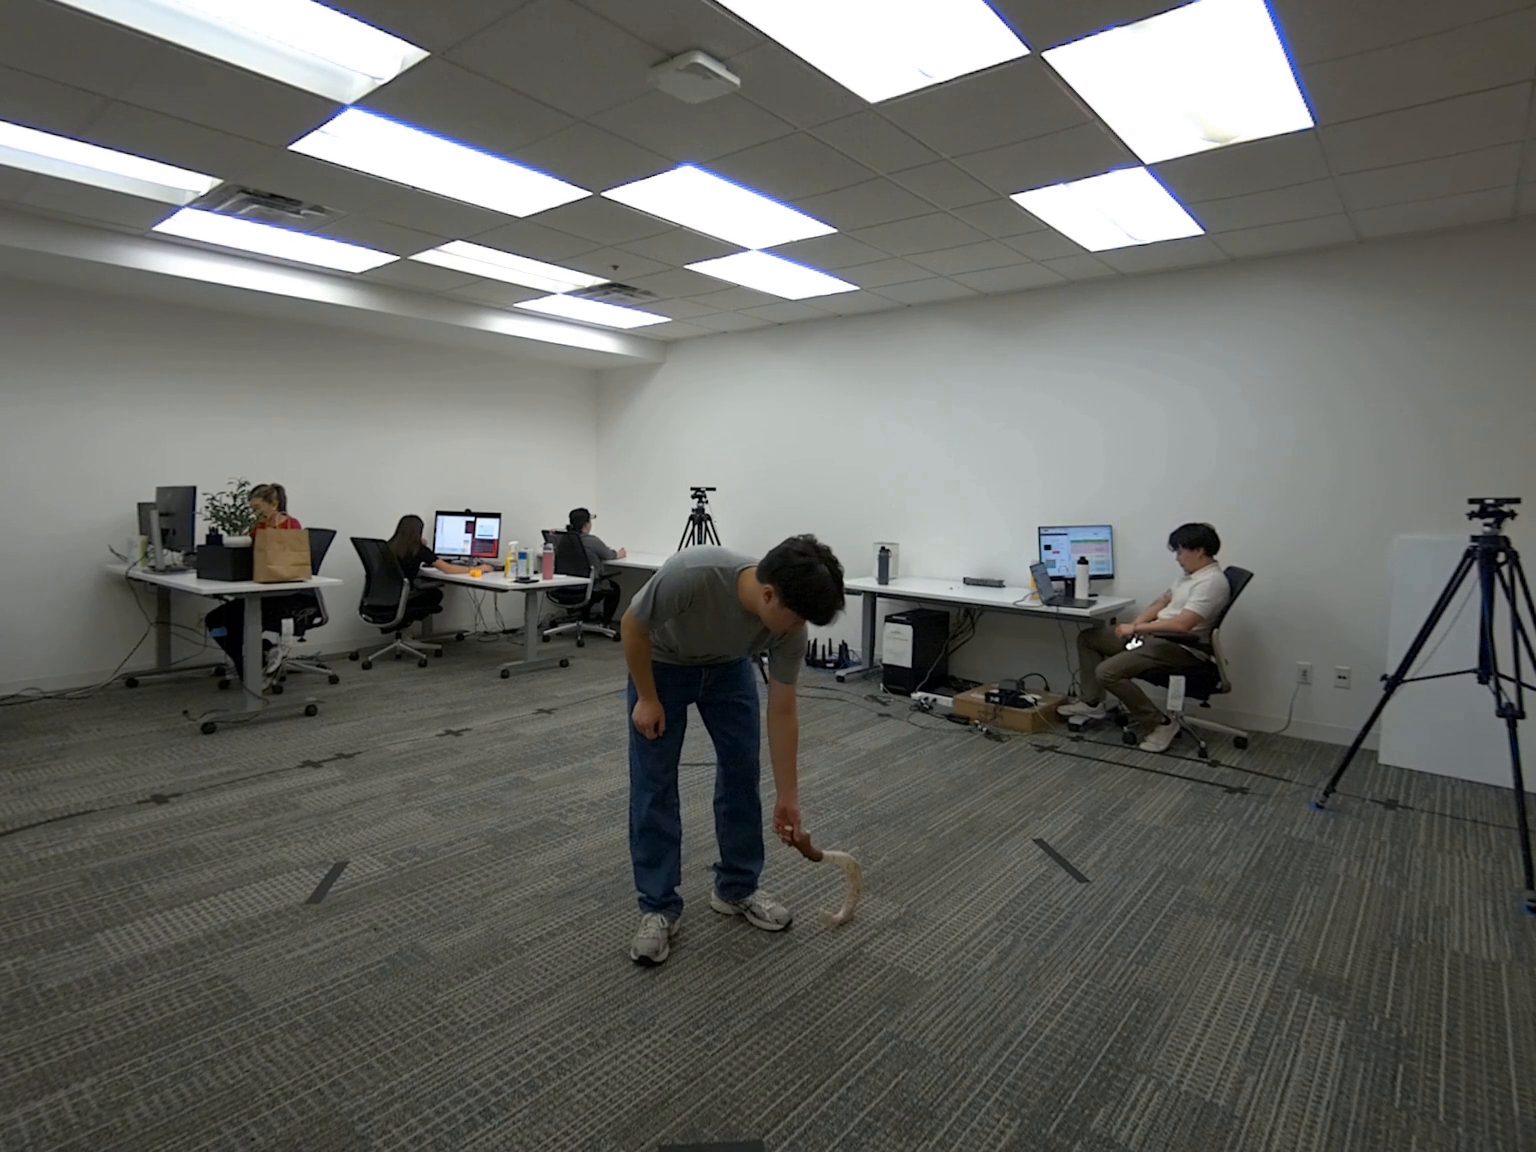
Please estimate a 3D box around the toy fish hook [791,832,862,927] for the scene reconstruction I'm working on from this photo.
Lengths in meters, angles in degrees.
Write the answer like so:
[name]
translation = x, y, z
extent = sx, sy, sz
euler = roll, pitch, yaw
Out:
[toy fish hook]
translation = 0.155, 0.931, 2.640
extent = 0.049, 0.227, 0.486
euler = -7, -39, 39
